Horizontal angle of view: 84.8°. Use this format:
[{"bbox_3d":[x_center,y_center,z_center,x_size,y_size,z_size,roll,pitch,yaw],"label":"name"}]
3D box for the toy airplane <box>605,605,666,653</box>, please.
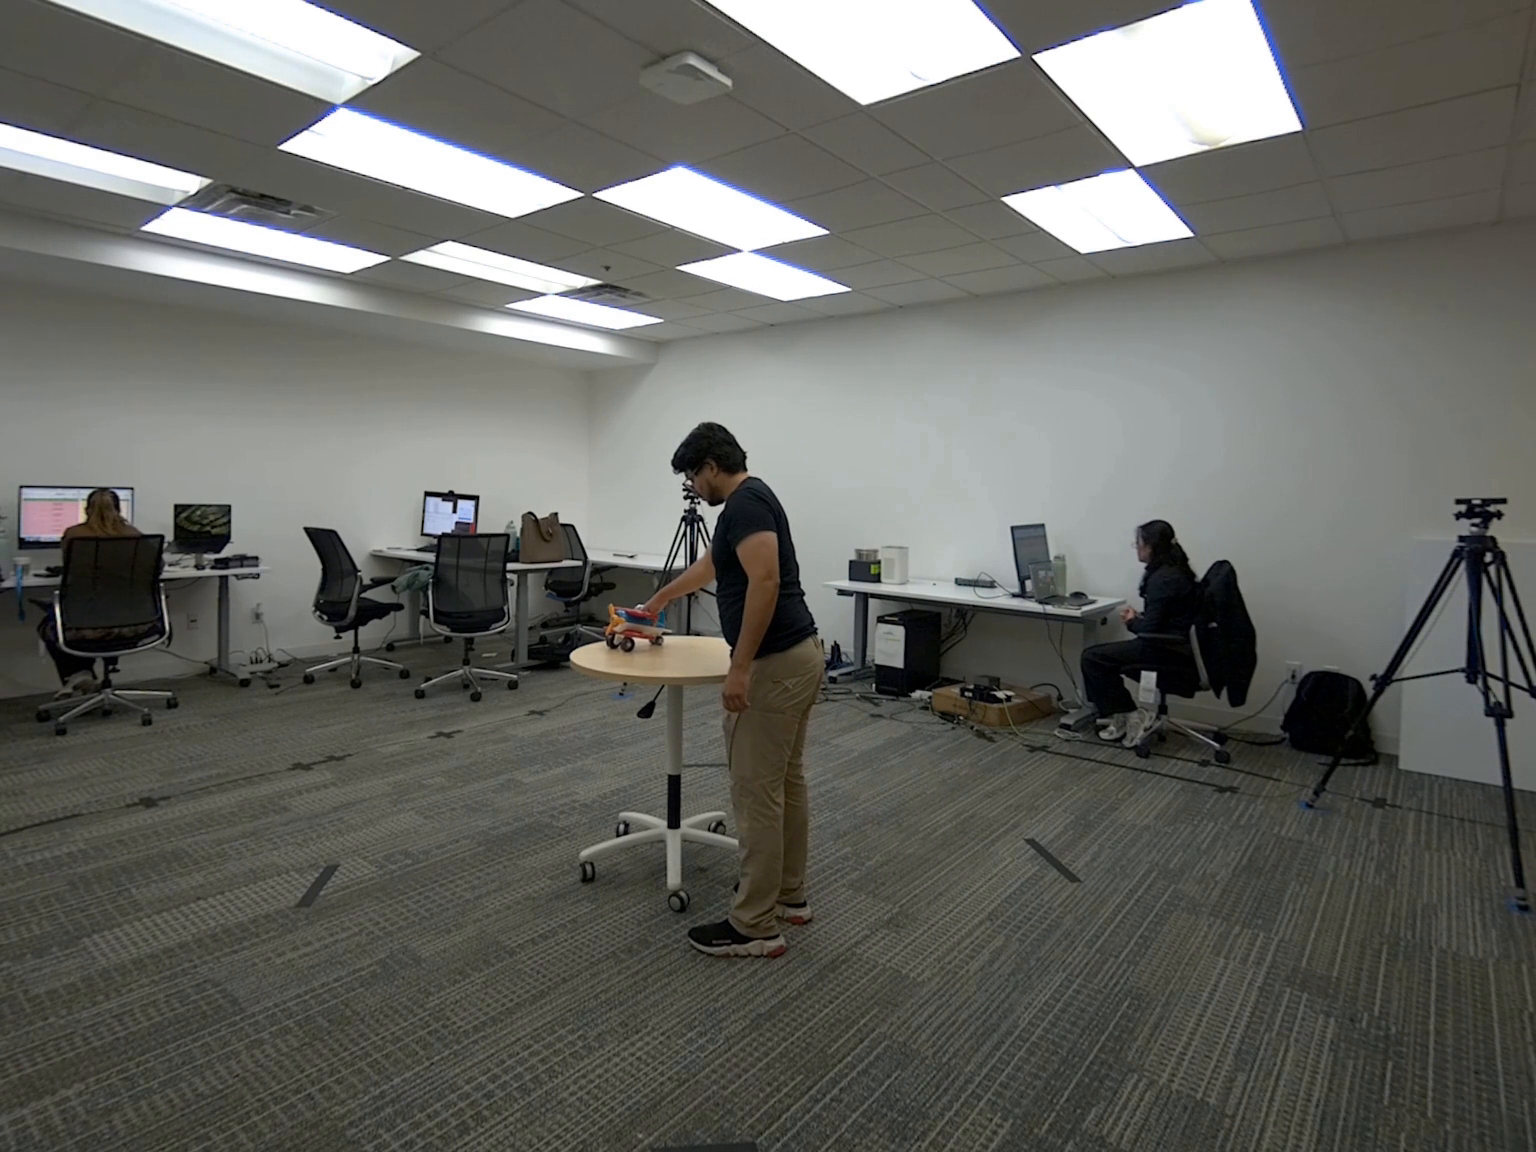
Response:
[{"bbox_3d":[-0.520,0.193,3.242,0.256,0.156,0.256,2,6,16],"label":"toy airplane"}]
